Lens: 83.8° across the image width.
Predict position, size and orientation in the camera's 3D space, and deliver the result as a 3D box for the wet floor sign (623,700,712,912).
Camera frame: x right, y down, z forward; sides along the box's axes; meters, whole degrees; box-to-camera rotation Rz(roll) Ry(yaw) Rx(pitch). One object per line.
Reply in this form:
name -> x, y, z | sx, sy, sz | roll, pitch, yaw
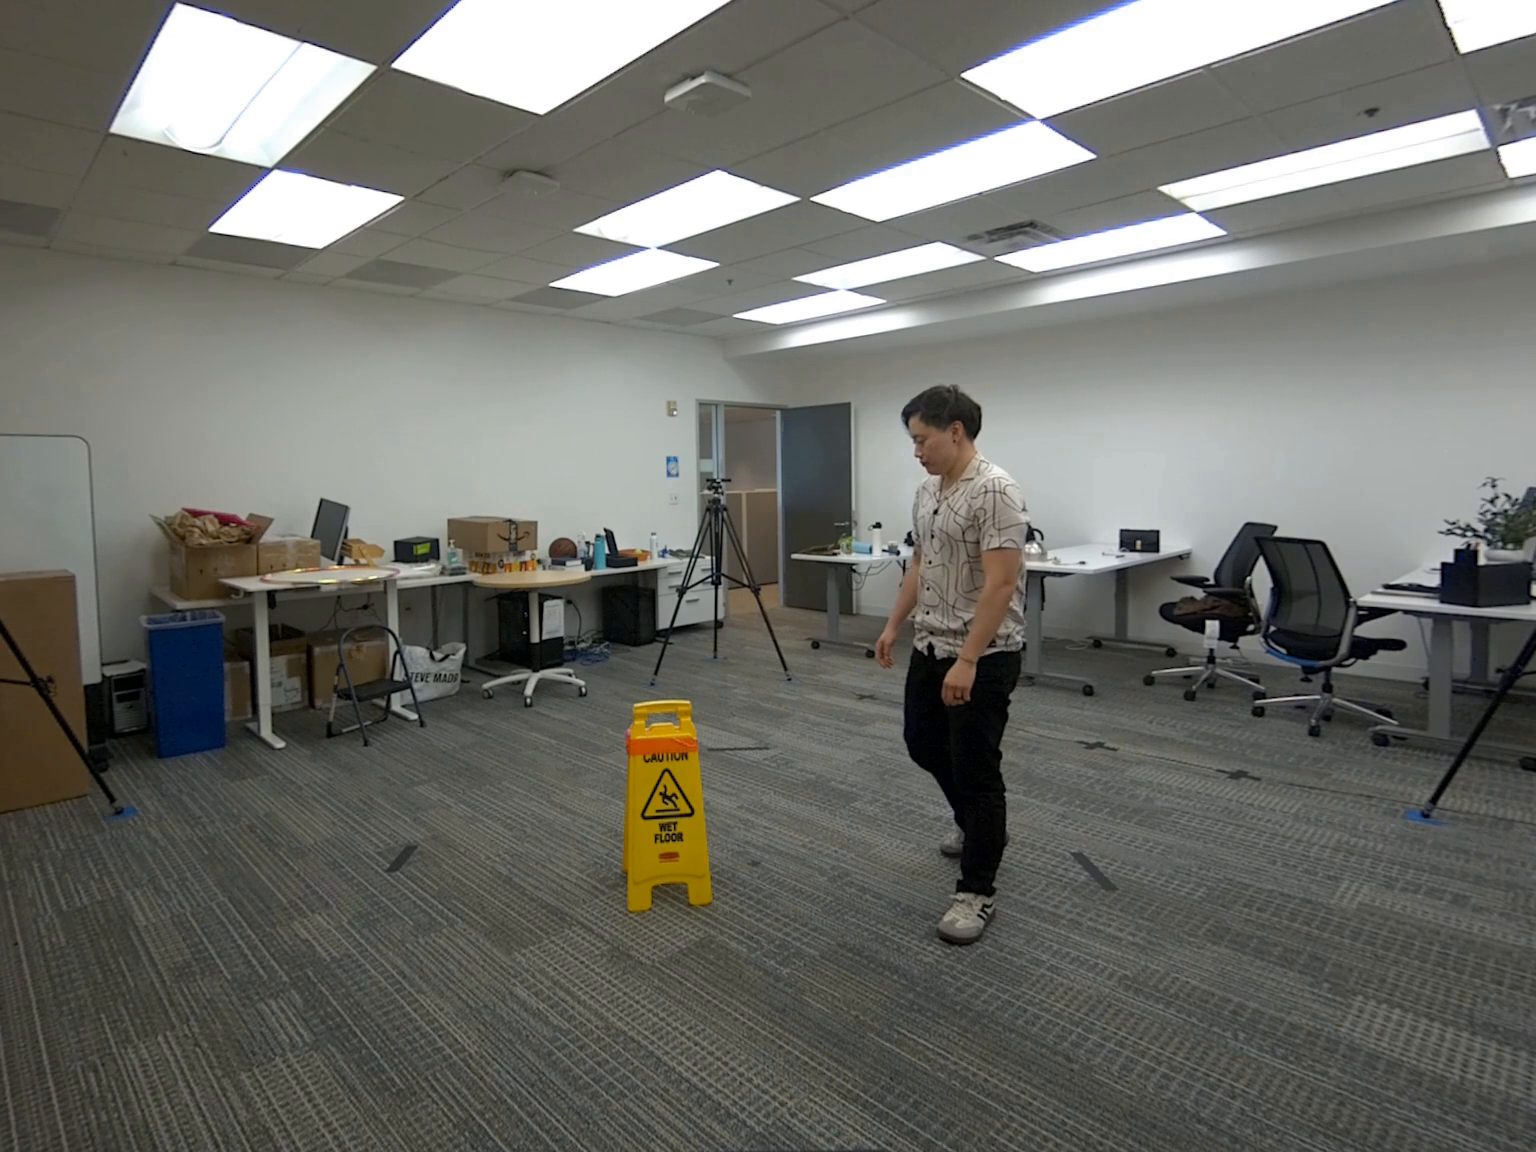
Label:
wet floor sign -> -0.354, 0.746, 2.916 | 0.279, 0.643, 0.294 | -2, 5, -12
